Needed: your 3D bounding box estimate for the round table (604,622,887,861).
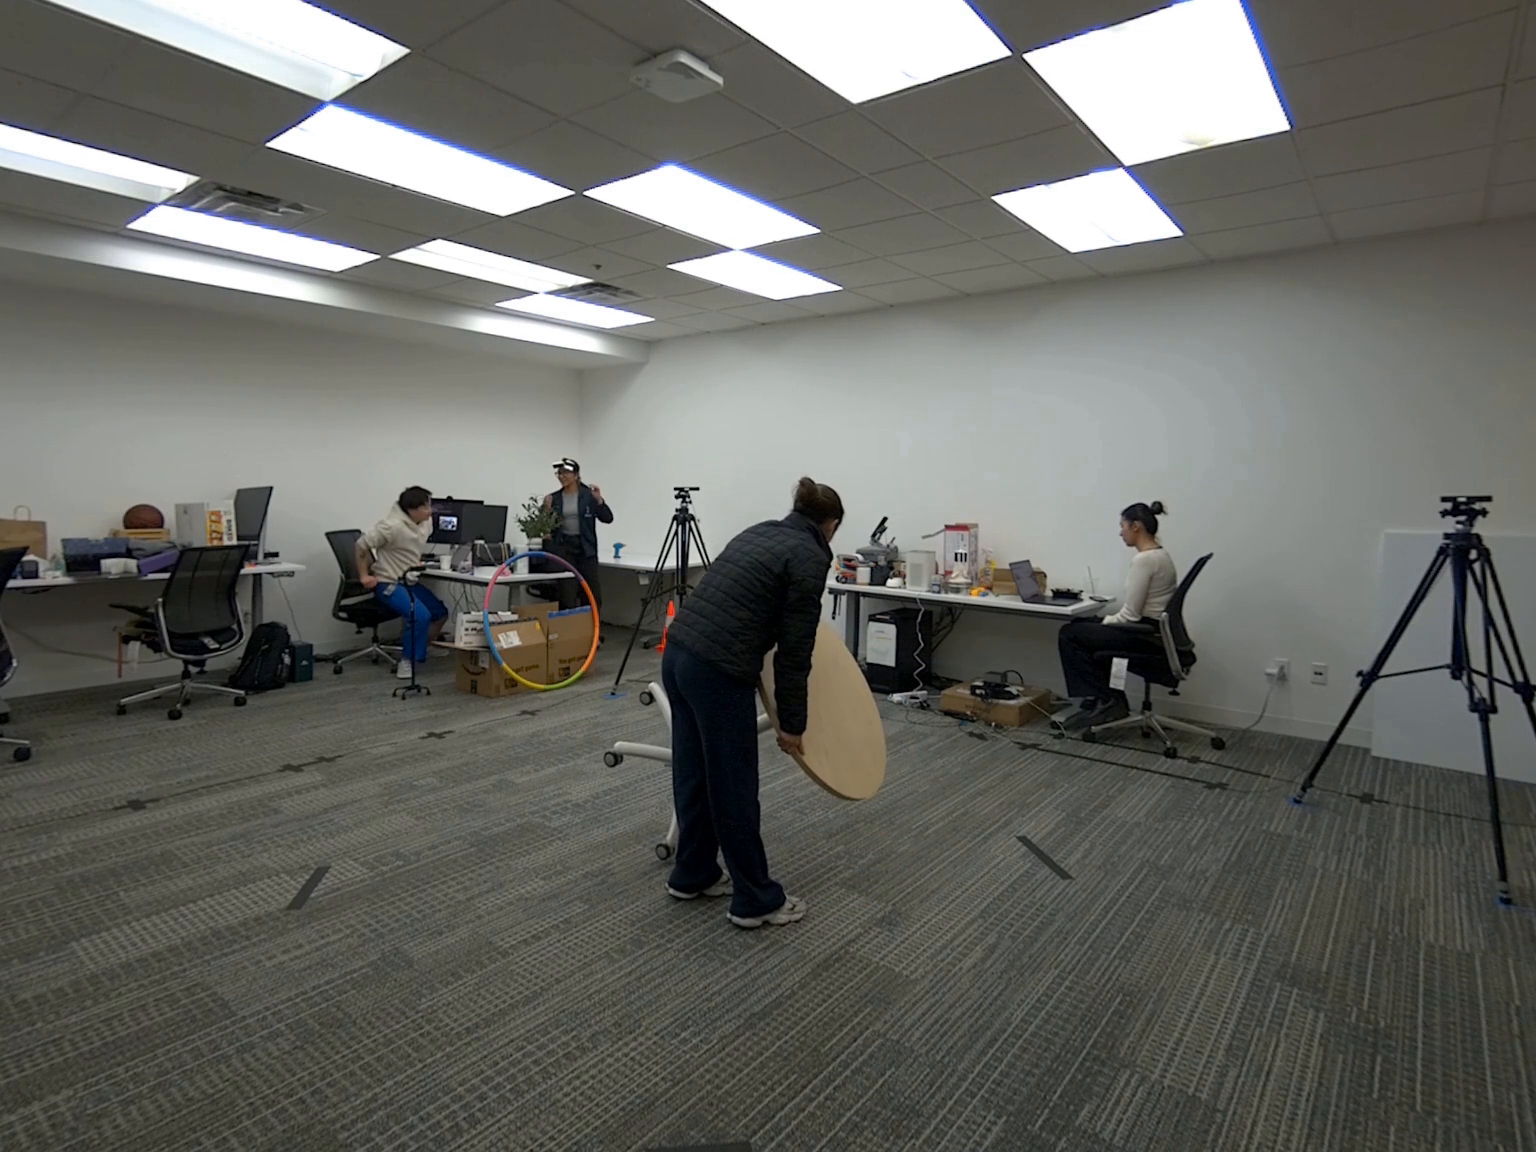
[{"bbox_3d":[-0.082,0.594,3.262,0.794,0.799,0.764,-32,-13,29],"label":"round table"}]
